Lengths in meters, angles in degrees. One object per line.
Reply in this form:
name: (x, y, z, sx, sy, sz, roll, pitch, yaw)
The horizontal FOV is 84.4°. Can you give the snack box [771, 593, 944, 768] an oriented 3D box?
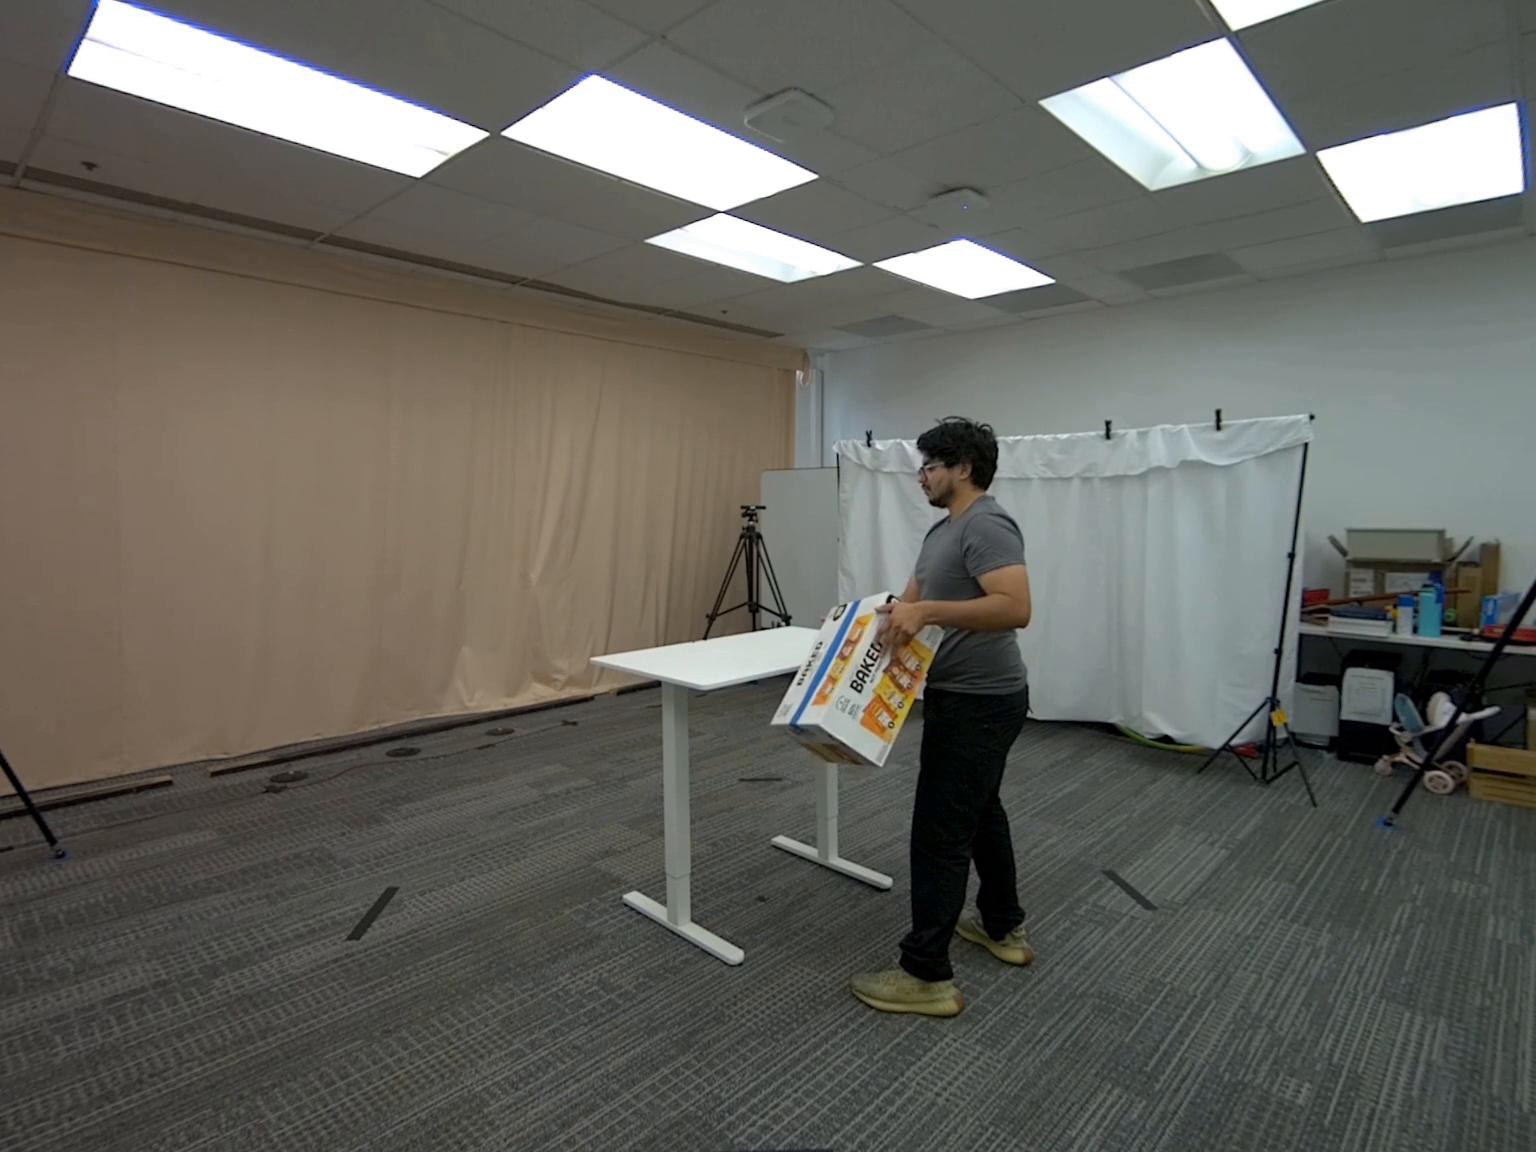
snack box: (0.245, 0.286, 2.312, 0.203, 0.405, 0.345, 34, -20, -11)
